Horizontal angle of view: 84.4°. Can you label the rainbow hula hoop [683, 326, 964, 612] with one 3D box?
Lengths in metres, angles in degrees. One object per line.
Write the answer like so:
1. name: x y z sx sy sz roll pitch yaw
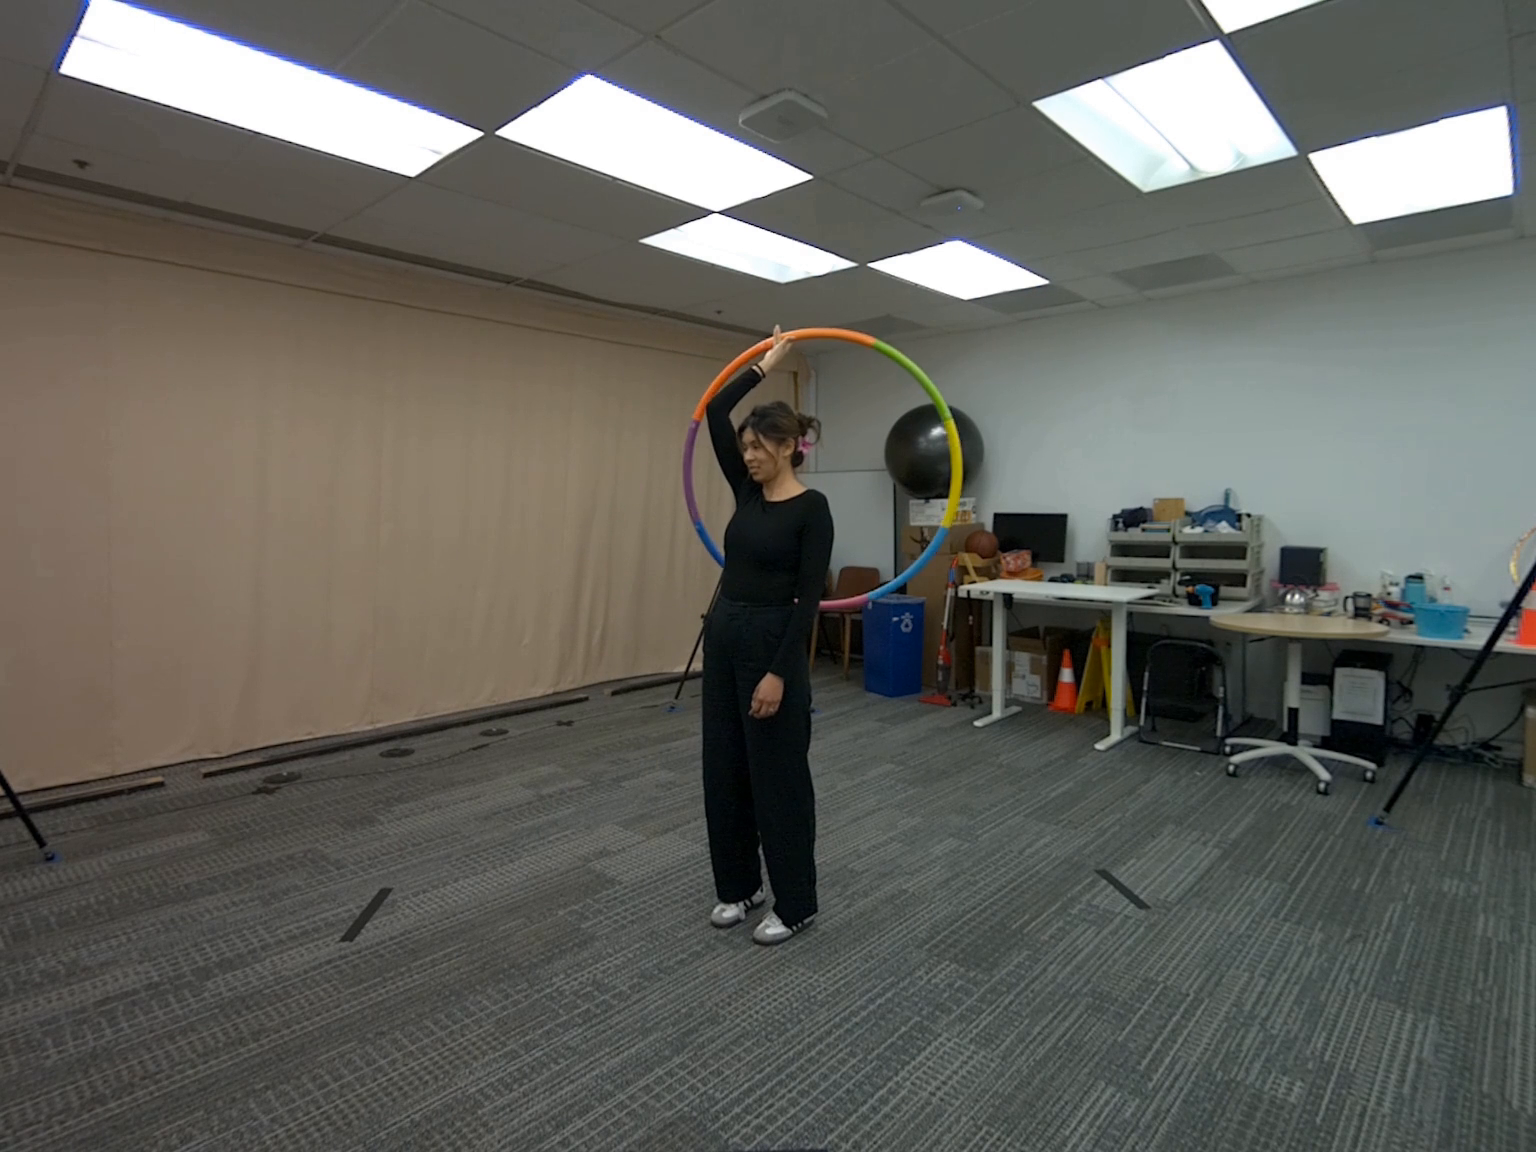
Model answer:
1. rainbow hula hoop: 0.179 -0.367 2.968 0.995 0.980 0.051 1 7 9
